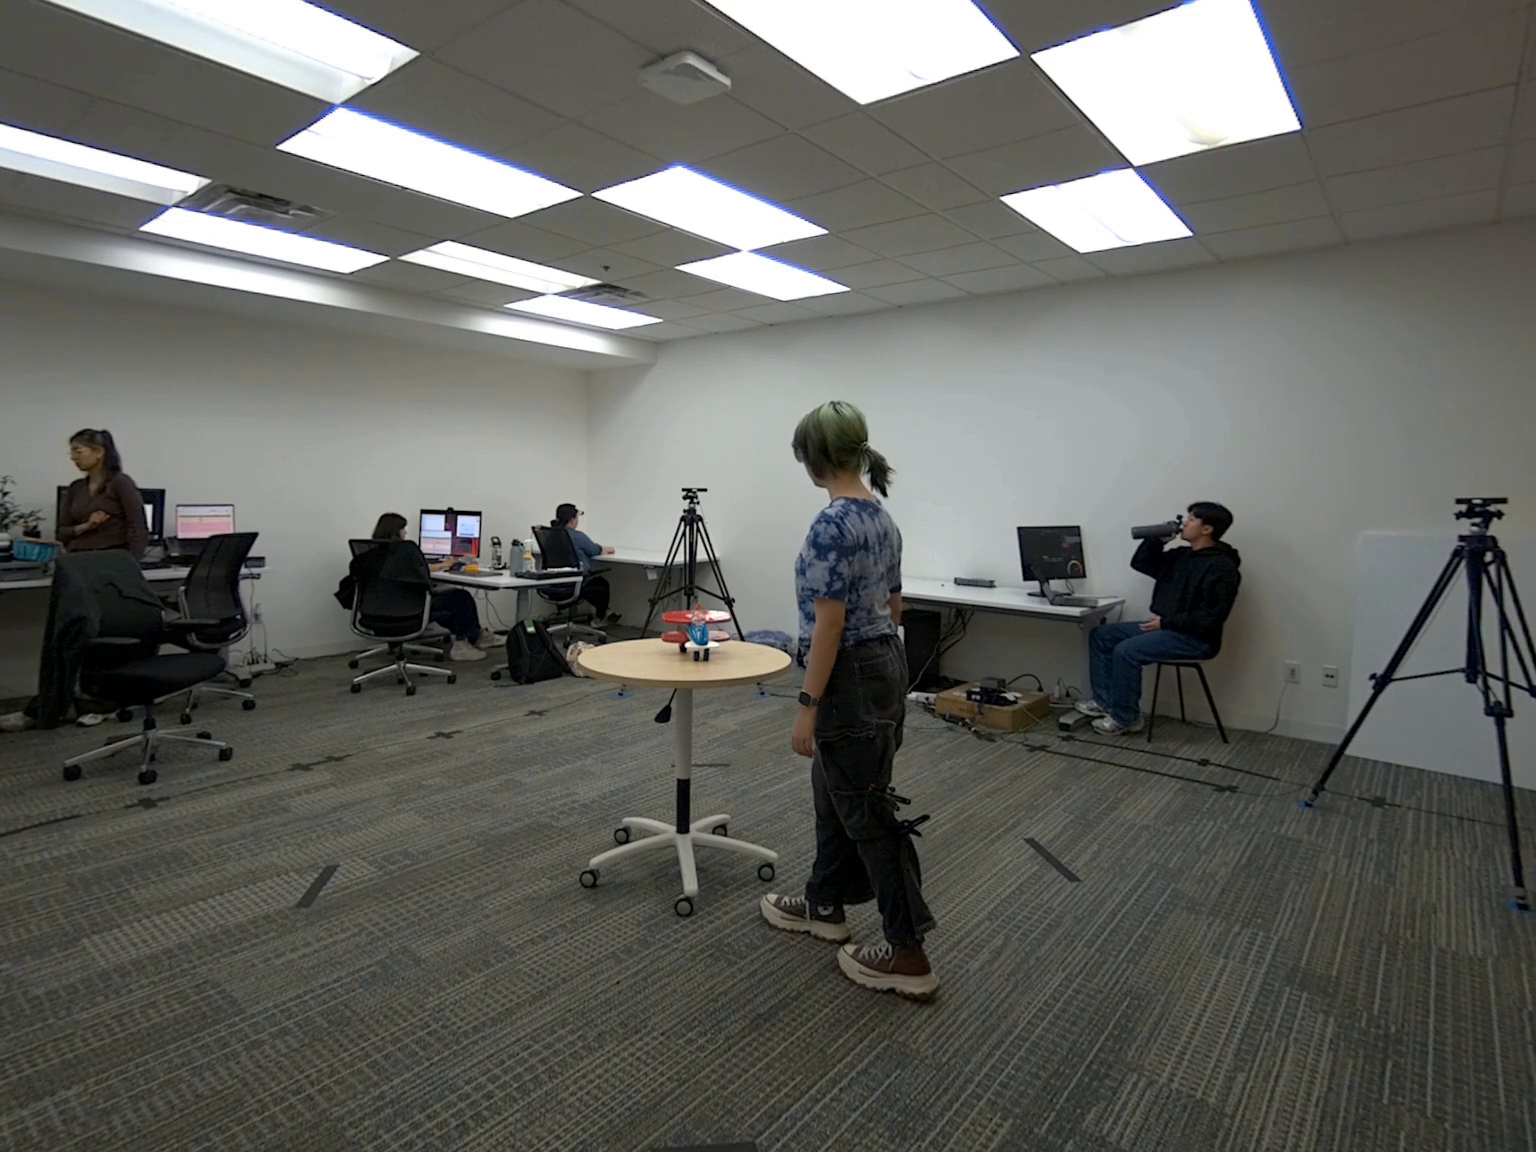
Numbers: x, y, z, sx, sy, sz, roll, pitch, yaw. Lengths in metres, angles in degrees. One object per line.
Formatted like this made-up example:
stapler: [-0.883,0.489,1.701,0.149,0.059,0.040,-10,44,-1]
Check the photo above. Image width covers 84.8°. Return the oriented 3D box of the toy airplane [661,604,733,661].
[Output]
toy airplane: [-0.251,0.209,3.097,0.244,0.156,0.268,-4,5,-40]
